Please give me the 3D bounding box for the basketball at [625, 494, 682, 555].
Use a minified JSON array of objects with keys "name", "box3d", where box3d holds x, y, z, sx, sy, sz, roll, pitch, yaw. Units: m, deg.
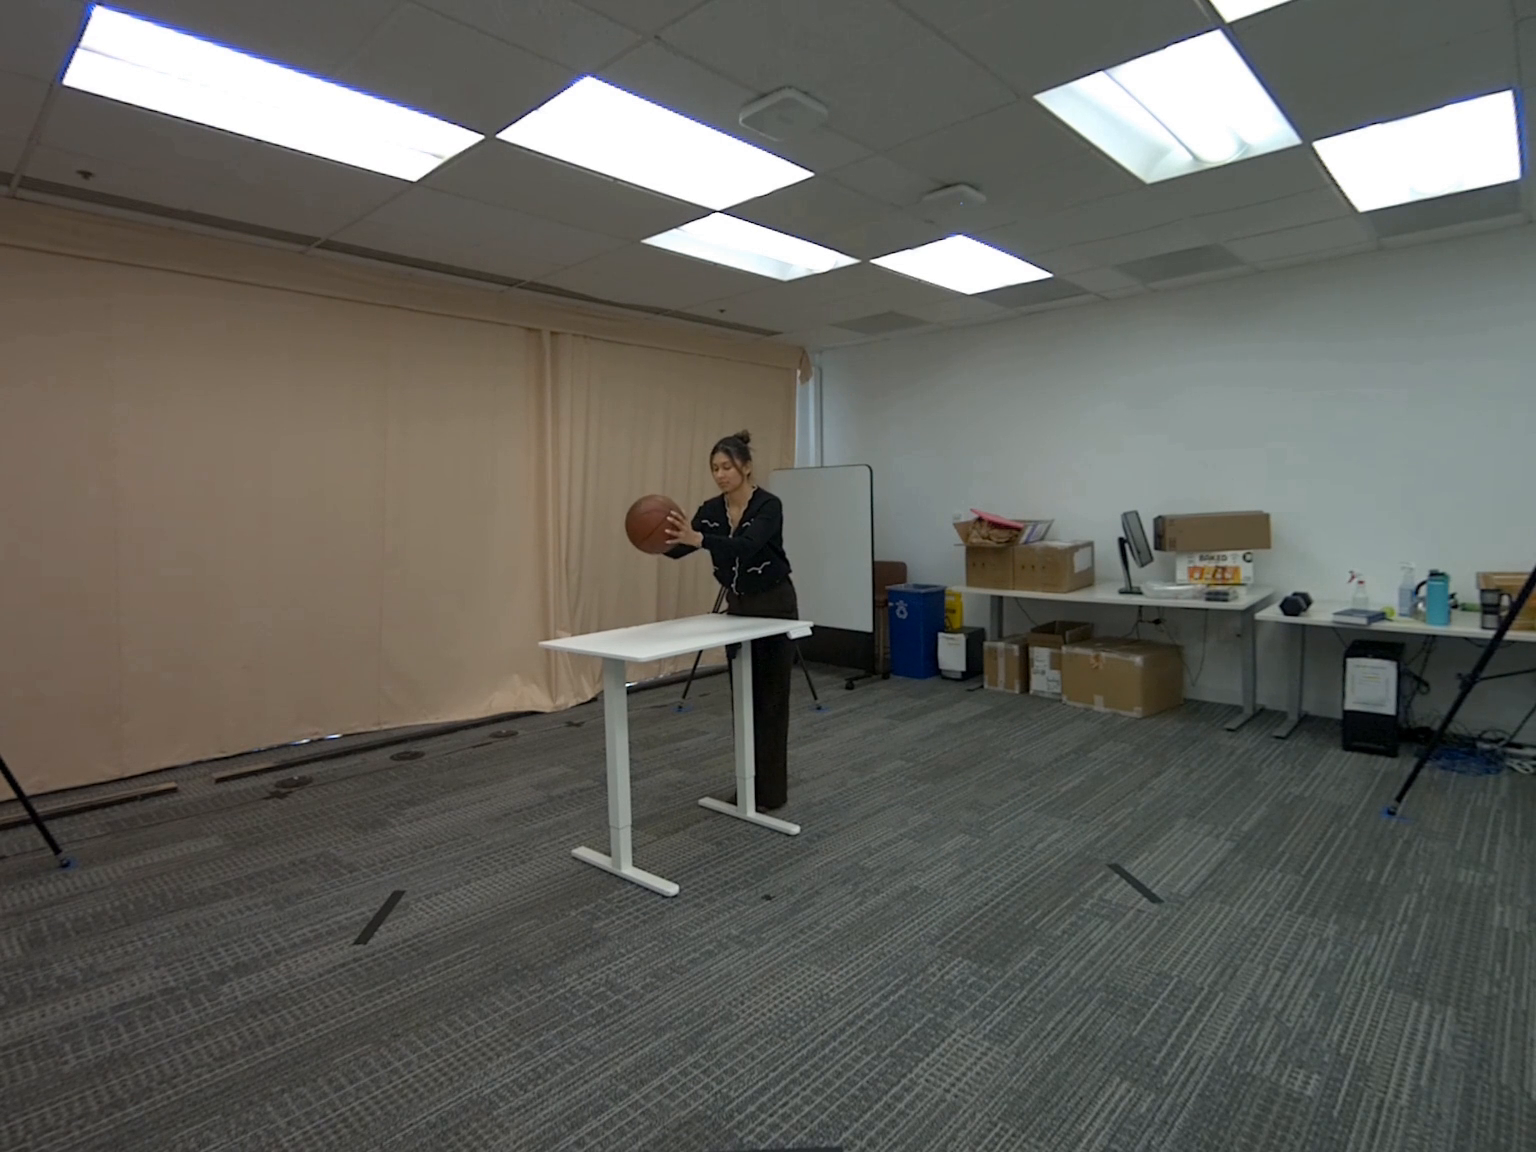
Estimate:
[{"name":"basketball","box3d":[-0.450,-0.201,3.345,0.236,0.235,0.237,-1,4,-2]}]
